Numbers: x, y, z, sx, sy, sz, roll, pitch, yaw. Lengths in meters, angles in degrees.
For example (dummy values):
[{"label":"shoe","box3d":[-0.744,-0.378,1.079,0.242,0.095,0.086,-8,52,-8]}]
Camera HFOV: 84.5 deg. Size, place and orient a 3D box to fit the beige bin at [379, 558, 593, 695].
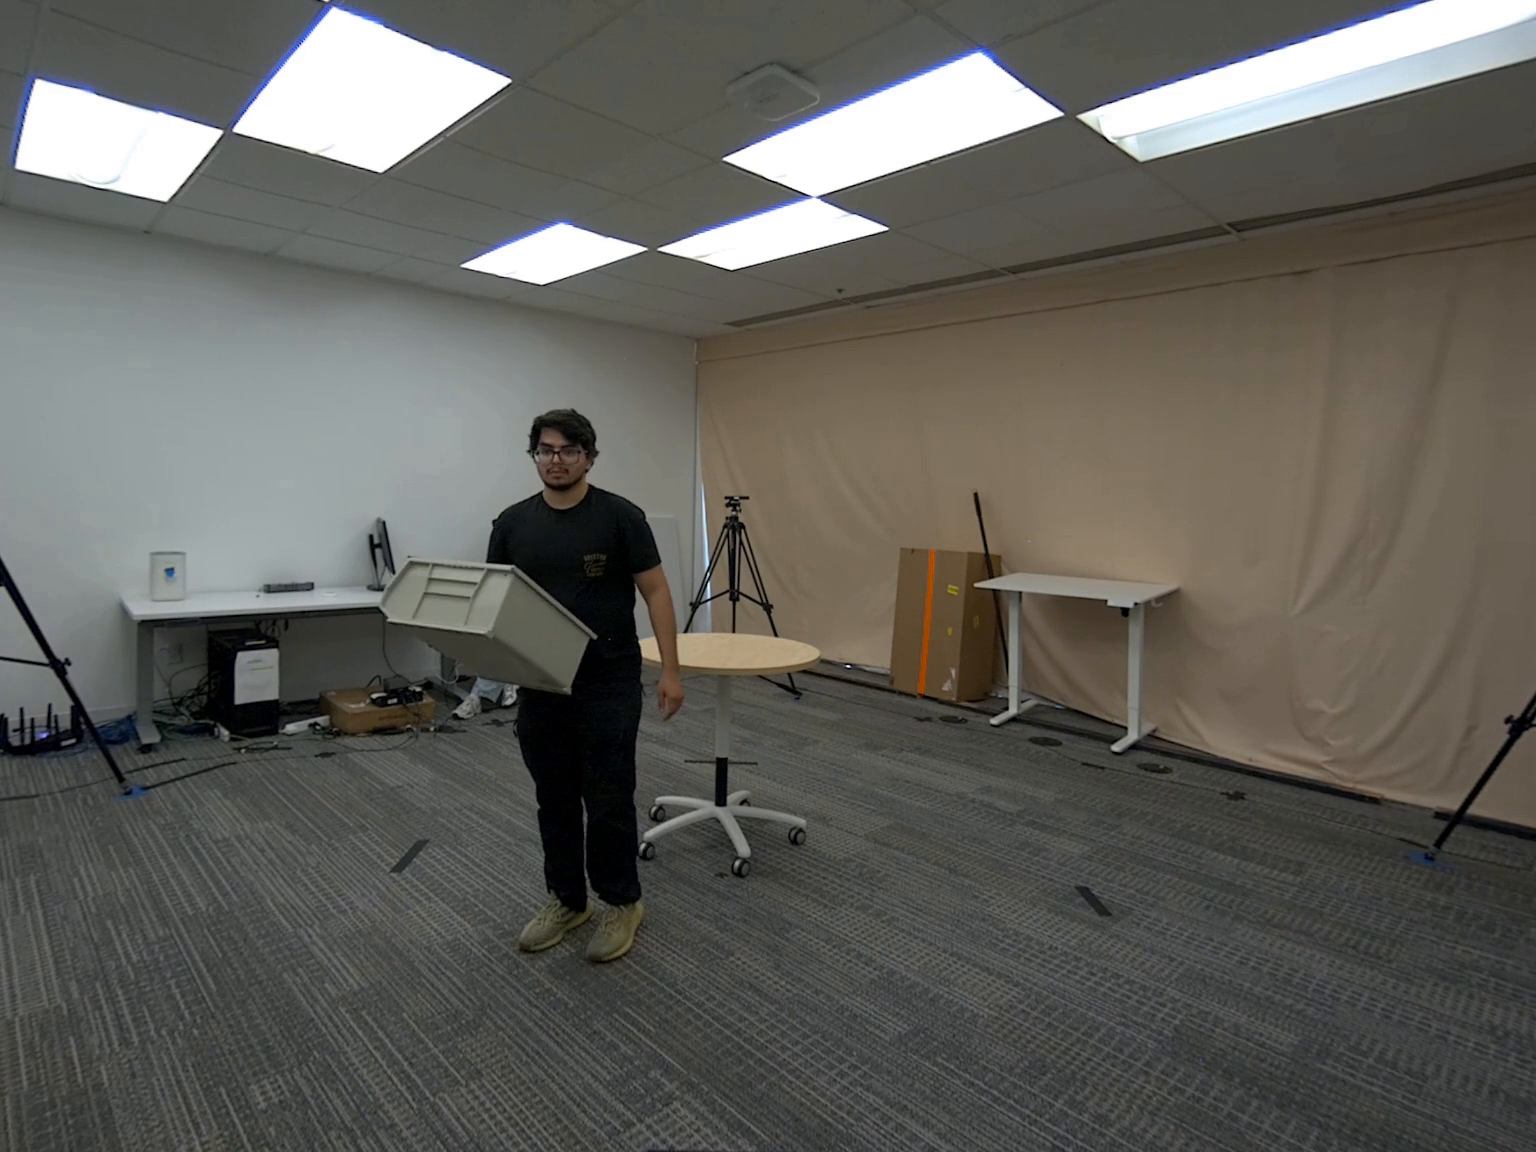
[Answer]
[{"label":"beige bin","box3d":[-0.749,0.141,2.226,0.385,0.191,0.410,6,-26,25]}]
